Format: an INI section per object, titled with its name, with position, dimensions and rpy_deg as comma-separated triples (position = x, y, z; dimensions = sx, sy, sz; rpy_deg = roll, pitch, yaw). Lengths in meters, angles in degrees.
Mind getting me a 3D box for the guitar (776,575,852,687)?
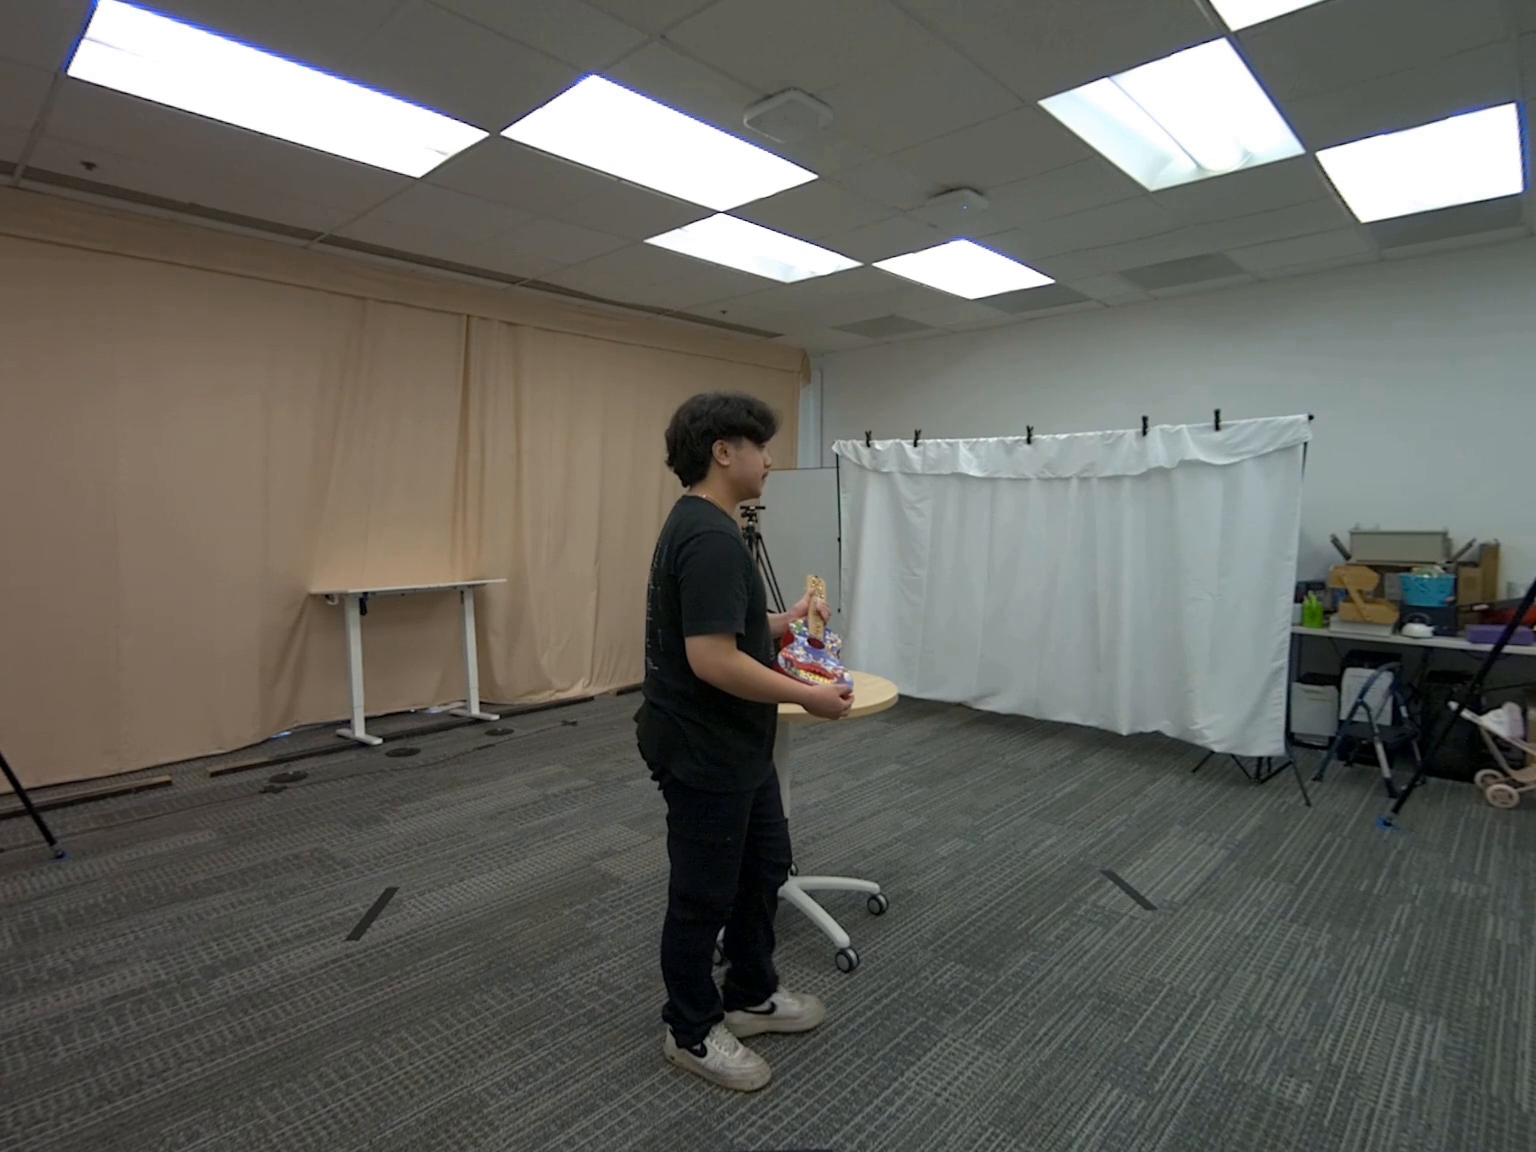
[guitar]
position = 0.157, 0.169, 2.148
dimensions = 0.193, 0.070, 0.499
rpy_deg = 21, 30, 1
